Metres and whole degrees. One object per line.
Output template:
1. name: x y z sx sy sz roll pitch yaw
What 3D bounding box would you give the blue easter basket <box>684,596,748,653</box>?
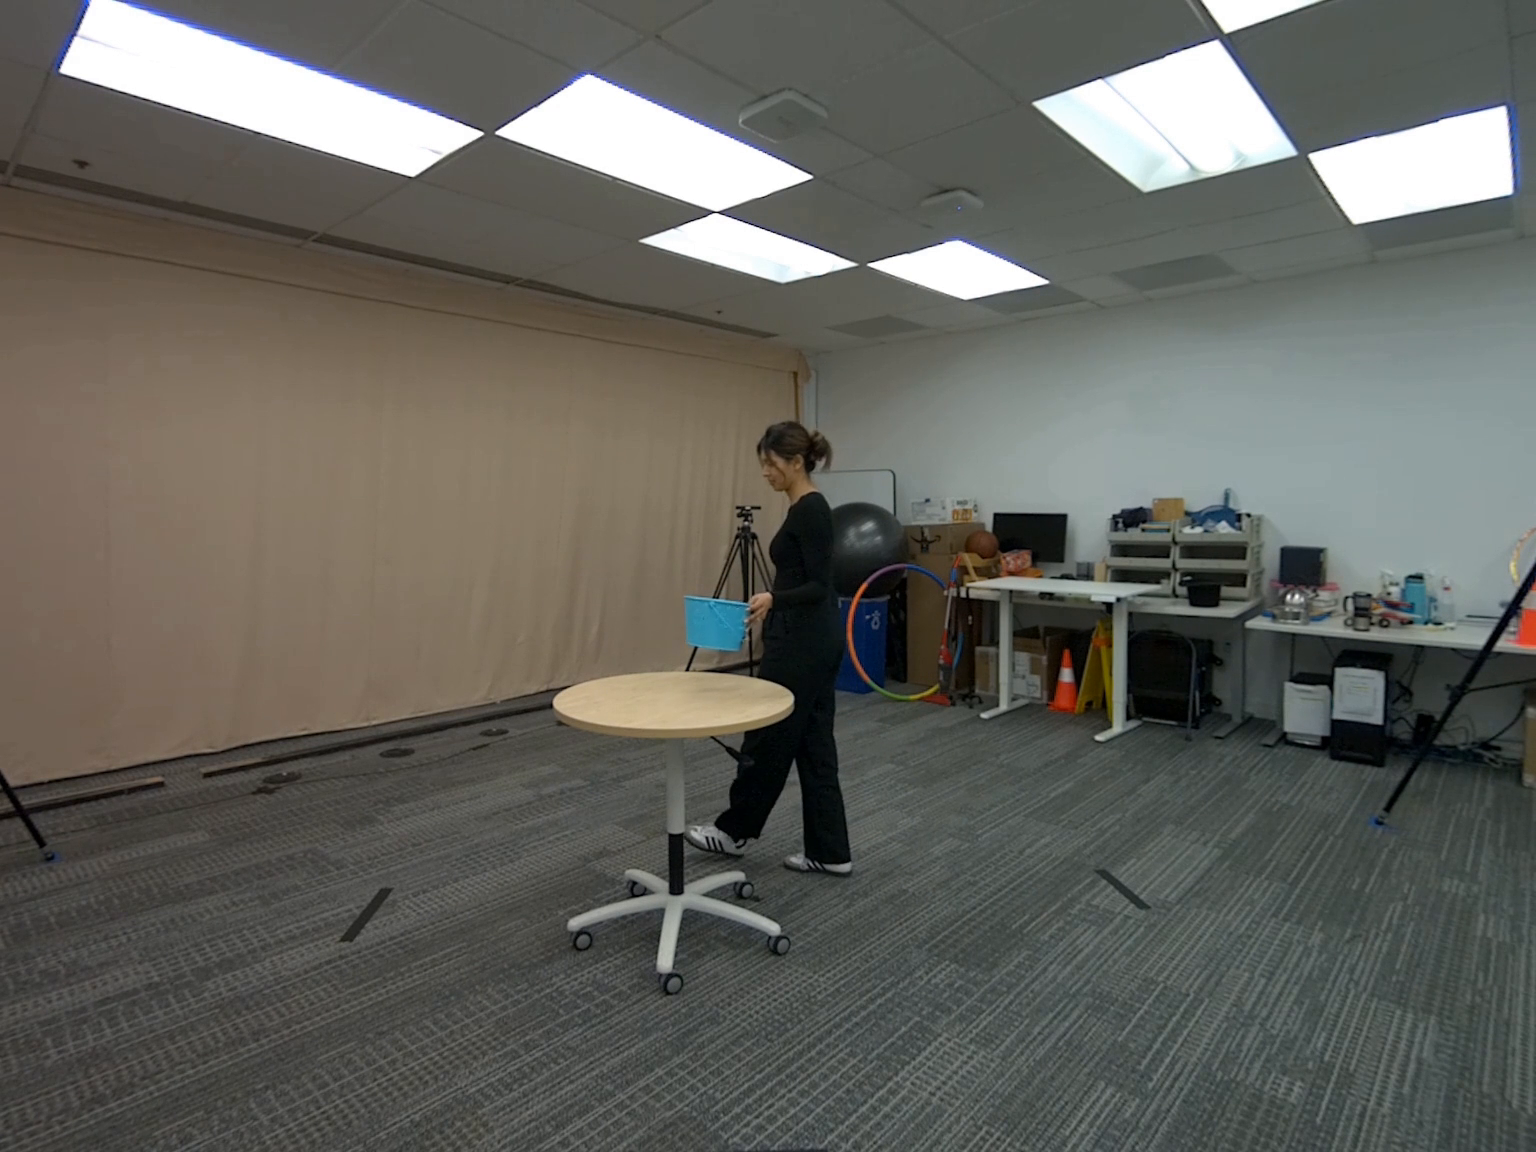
1. blue easter basket: -0.164 0.156 2.750 0.243 0.156 0.244 5 0 -2
